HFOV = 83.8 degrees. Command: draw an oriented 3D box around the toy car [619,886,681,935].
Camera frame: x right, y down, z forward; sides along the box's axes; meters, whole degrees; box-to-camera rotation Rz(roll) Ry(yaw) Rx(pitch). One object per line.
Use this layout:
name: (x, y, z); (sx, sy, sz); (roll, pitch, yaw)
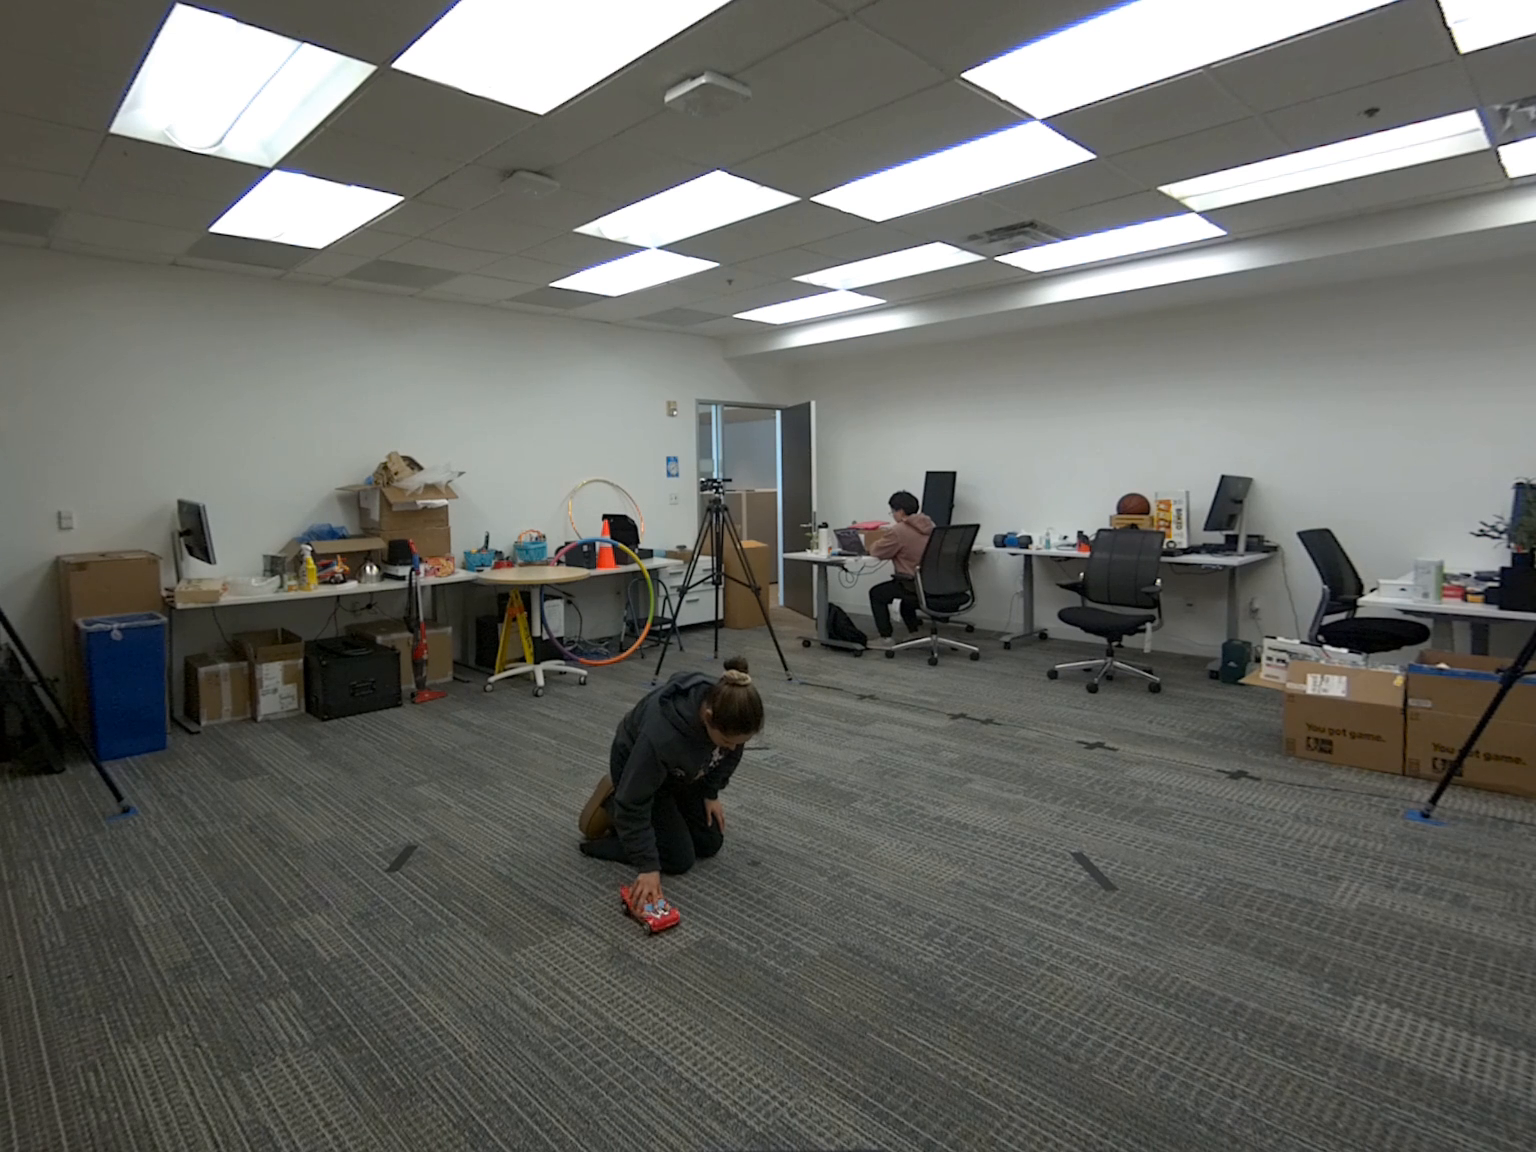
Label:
toy car: (-0.391, 1.065, 2.729); (0.127, 0.082, 0.264); (-6, 20, -32)
